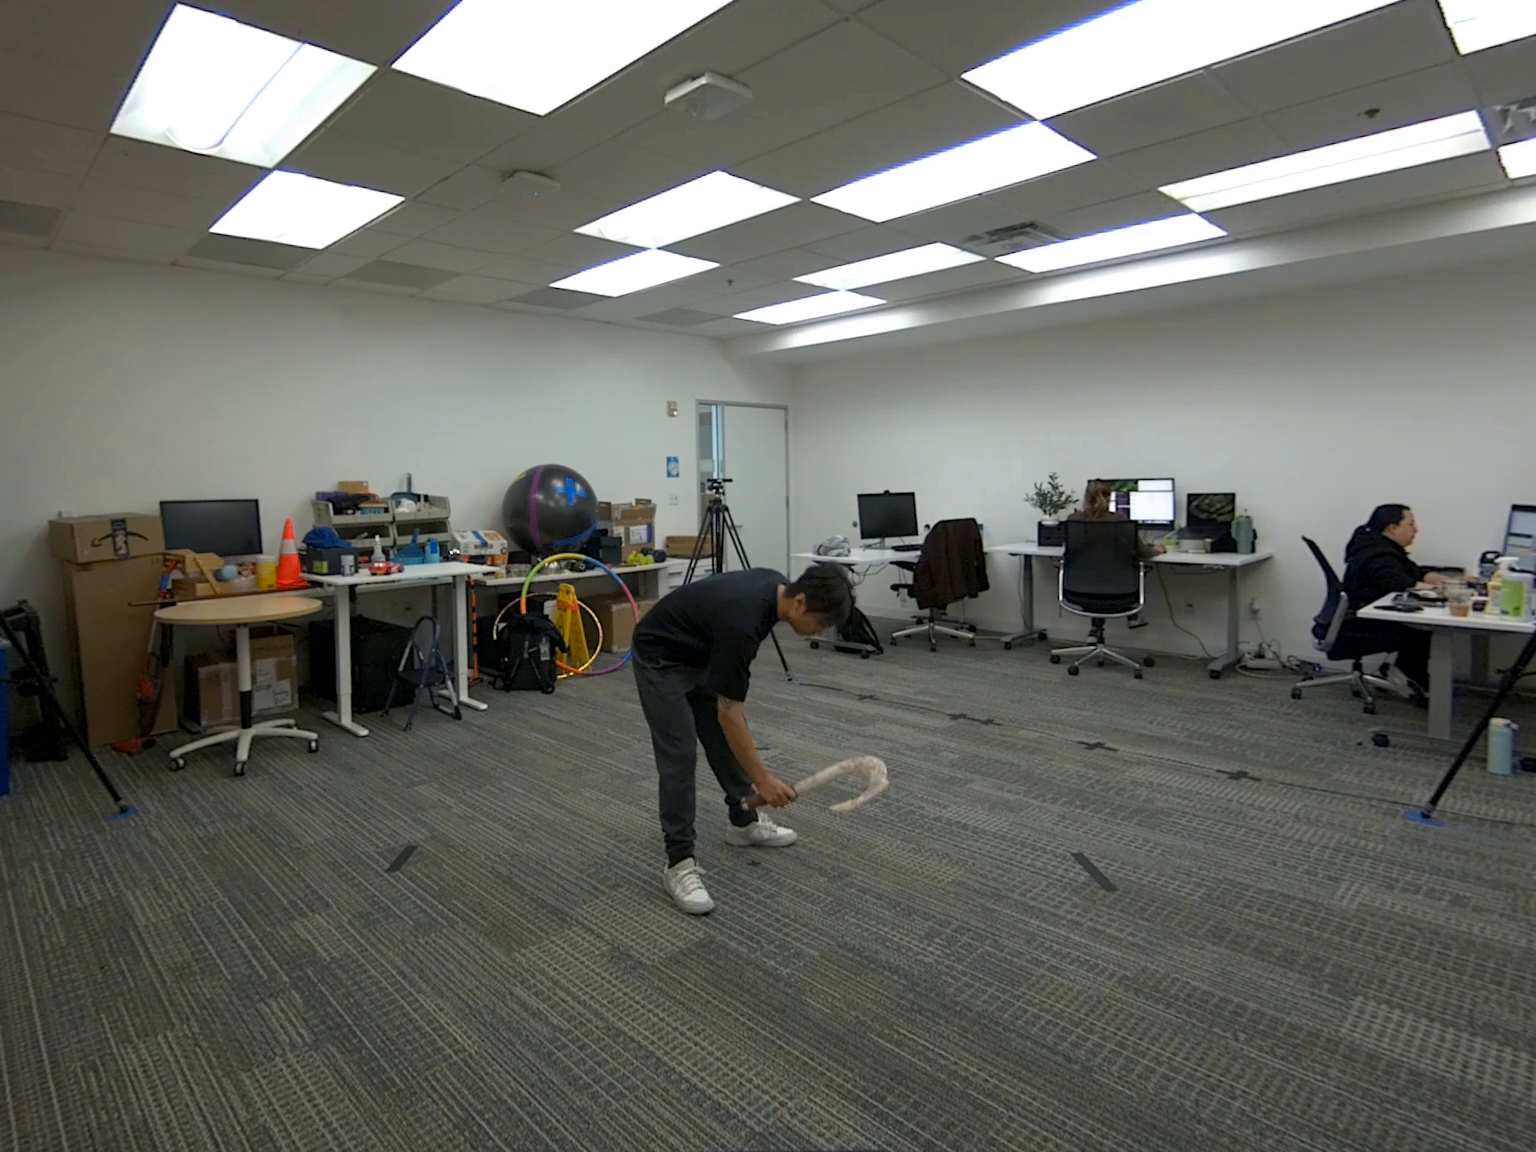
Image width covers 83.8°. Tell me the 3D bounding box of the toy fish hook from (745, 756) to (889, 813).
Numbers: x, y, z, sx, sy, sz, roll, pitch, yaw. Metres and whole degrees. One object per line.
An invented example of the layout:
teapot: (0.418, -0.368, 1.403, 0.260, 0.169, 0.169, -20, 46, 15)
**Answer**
toy fish hook: (0.141, 0.706, 2.733, 0.511, 0.047, 0.227, -21, 17, 14)
